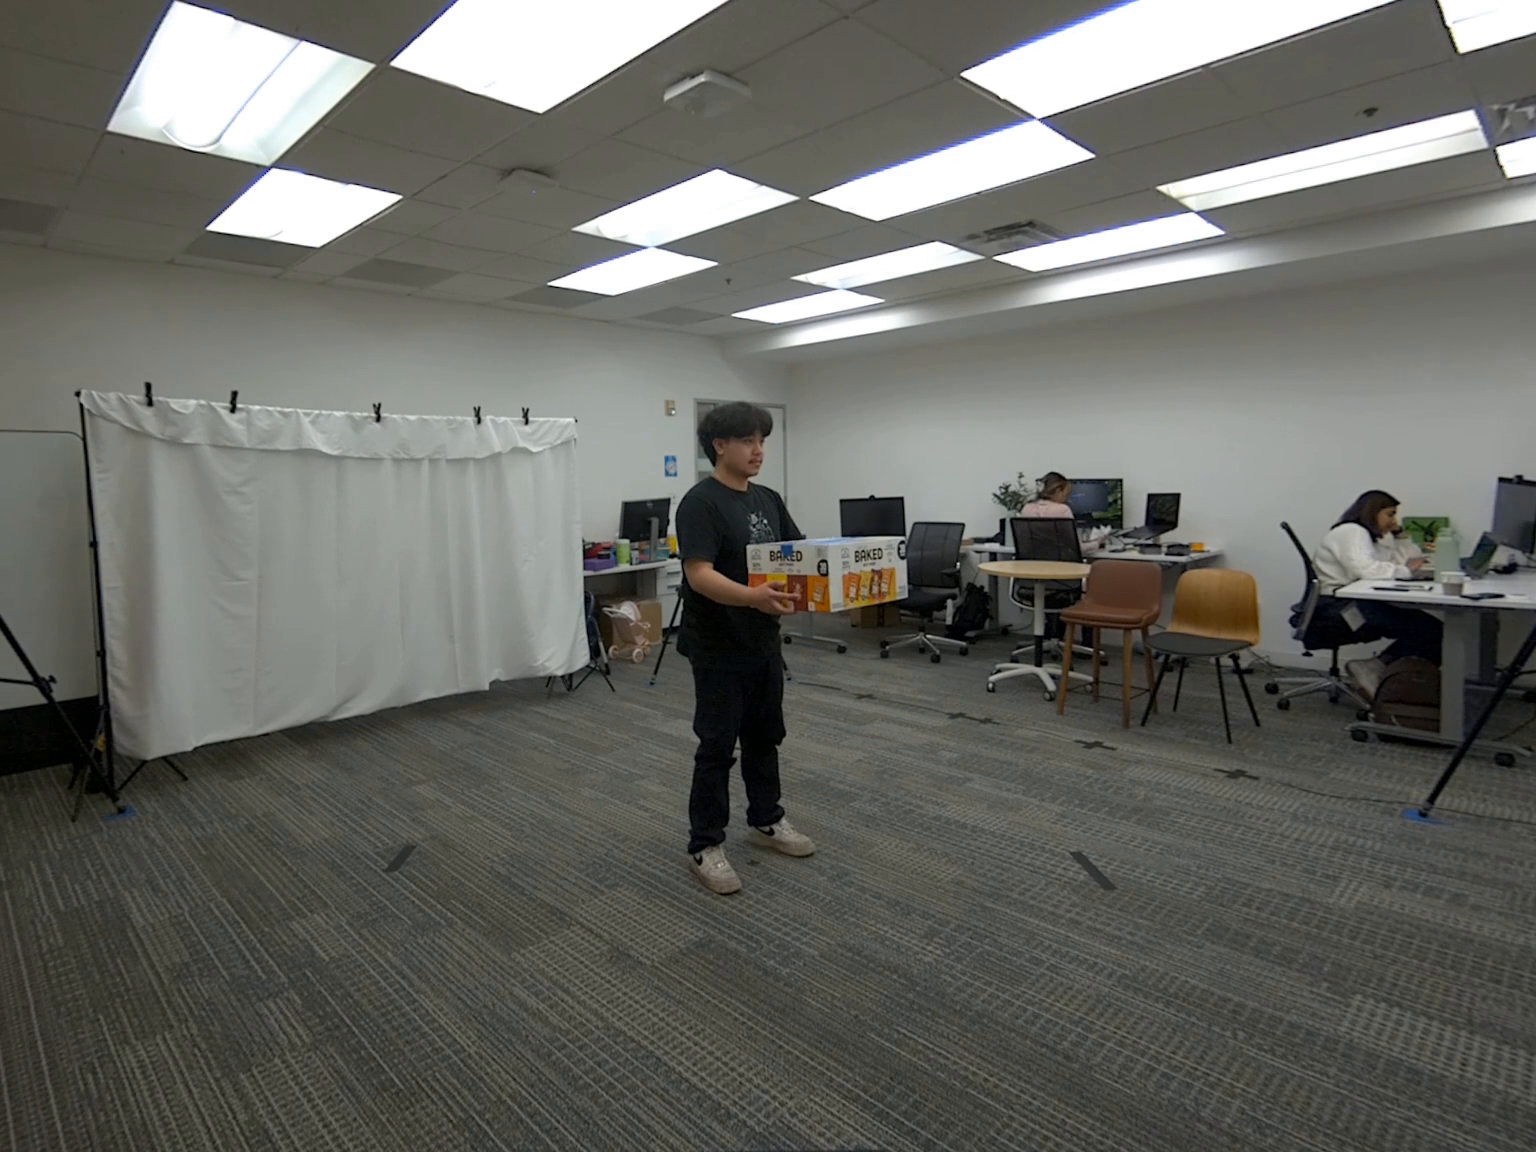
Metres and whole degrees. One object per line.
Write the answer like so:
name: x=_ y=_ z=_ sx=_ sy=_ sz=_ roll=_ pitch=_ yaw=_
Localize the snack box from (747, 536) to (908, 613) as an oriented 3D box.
snack box: x=0.192 y=-0.014 z=2.775 sx=0.350 sy=0.205 sz=0.394 roll=1 pitch=5 yaw=44
